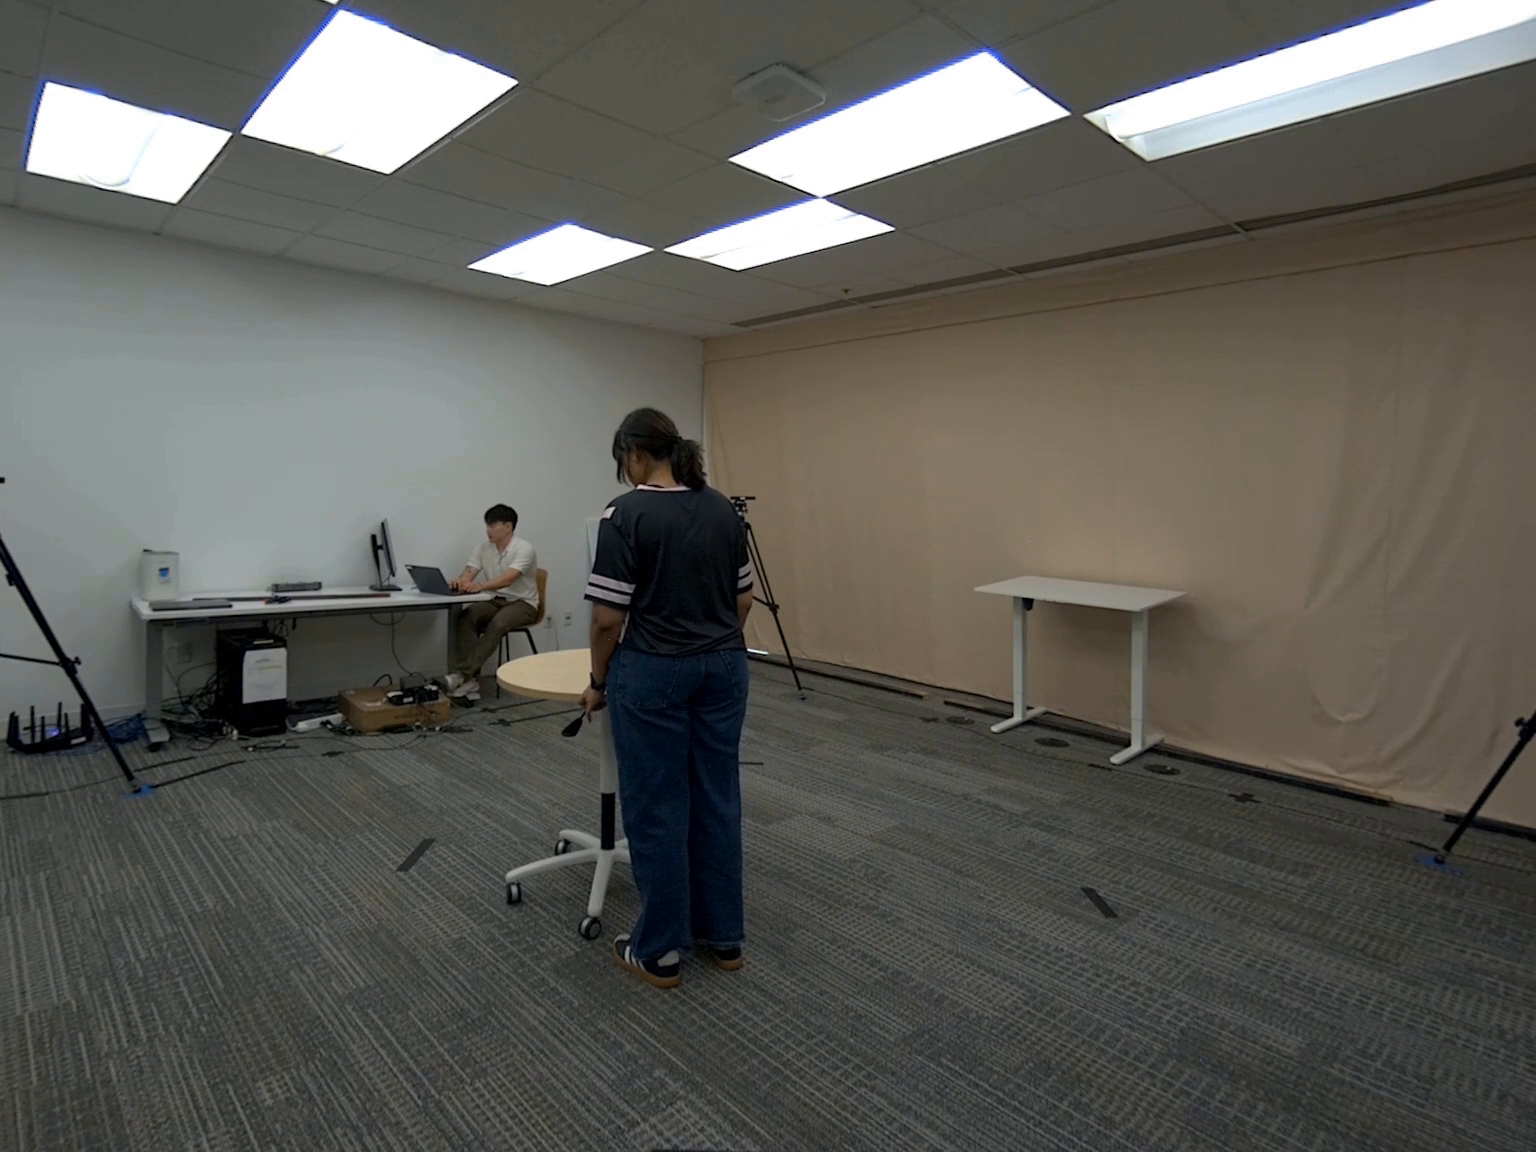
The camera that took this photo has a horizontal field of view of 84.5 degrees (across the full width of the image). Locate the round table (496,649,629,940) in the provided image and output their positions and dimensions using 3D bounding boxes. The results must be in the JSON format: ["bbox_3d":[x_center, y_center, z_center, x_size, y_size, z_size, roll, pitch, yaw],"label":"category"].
[{"bbox_3d":[-0.569,0.718,2.975,0.763,0.792,0.767,1,4,-1],"label":"round table"}]
